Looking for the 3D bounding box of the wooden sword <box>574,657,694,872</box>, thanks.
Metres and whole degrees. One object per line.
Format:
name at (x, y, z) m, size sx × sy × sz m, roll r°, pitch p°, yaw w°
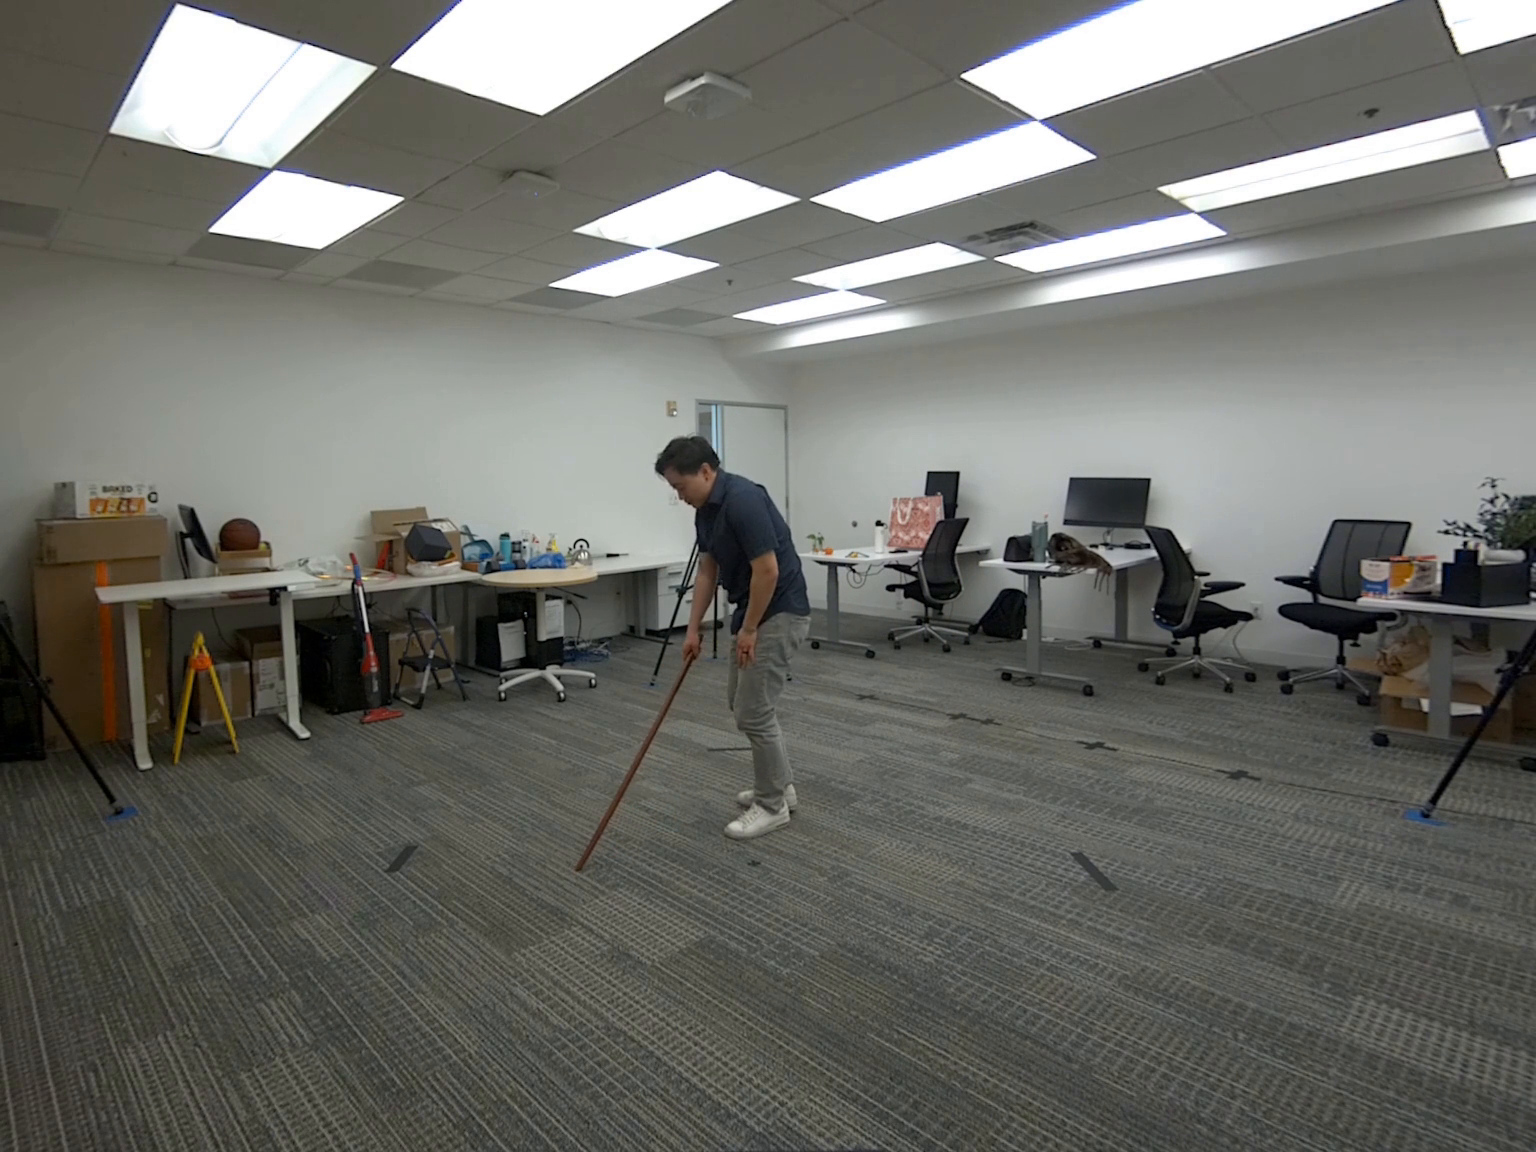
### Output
wooden sword at (-0.473, 0.667, 3.322) m, size 0.024 × 1.033 × 0.050 m, roll 26°, pitch -29°, yaw 4°
